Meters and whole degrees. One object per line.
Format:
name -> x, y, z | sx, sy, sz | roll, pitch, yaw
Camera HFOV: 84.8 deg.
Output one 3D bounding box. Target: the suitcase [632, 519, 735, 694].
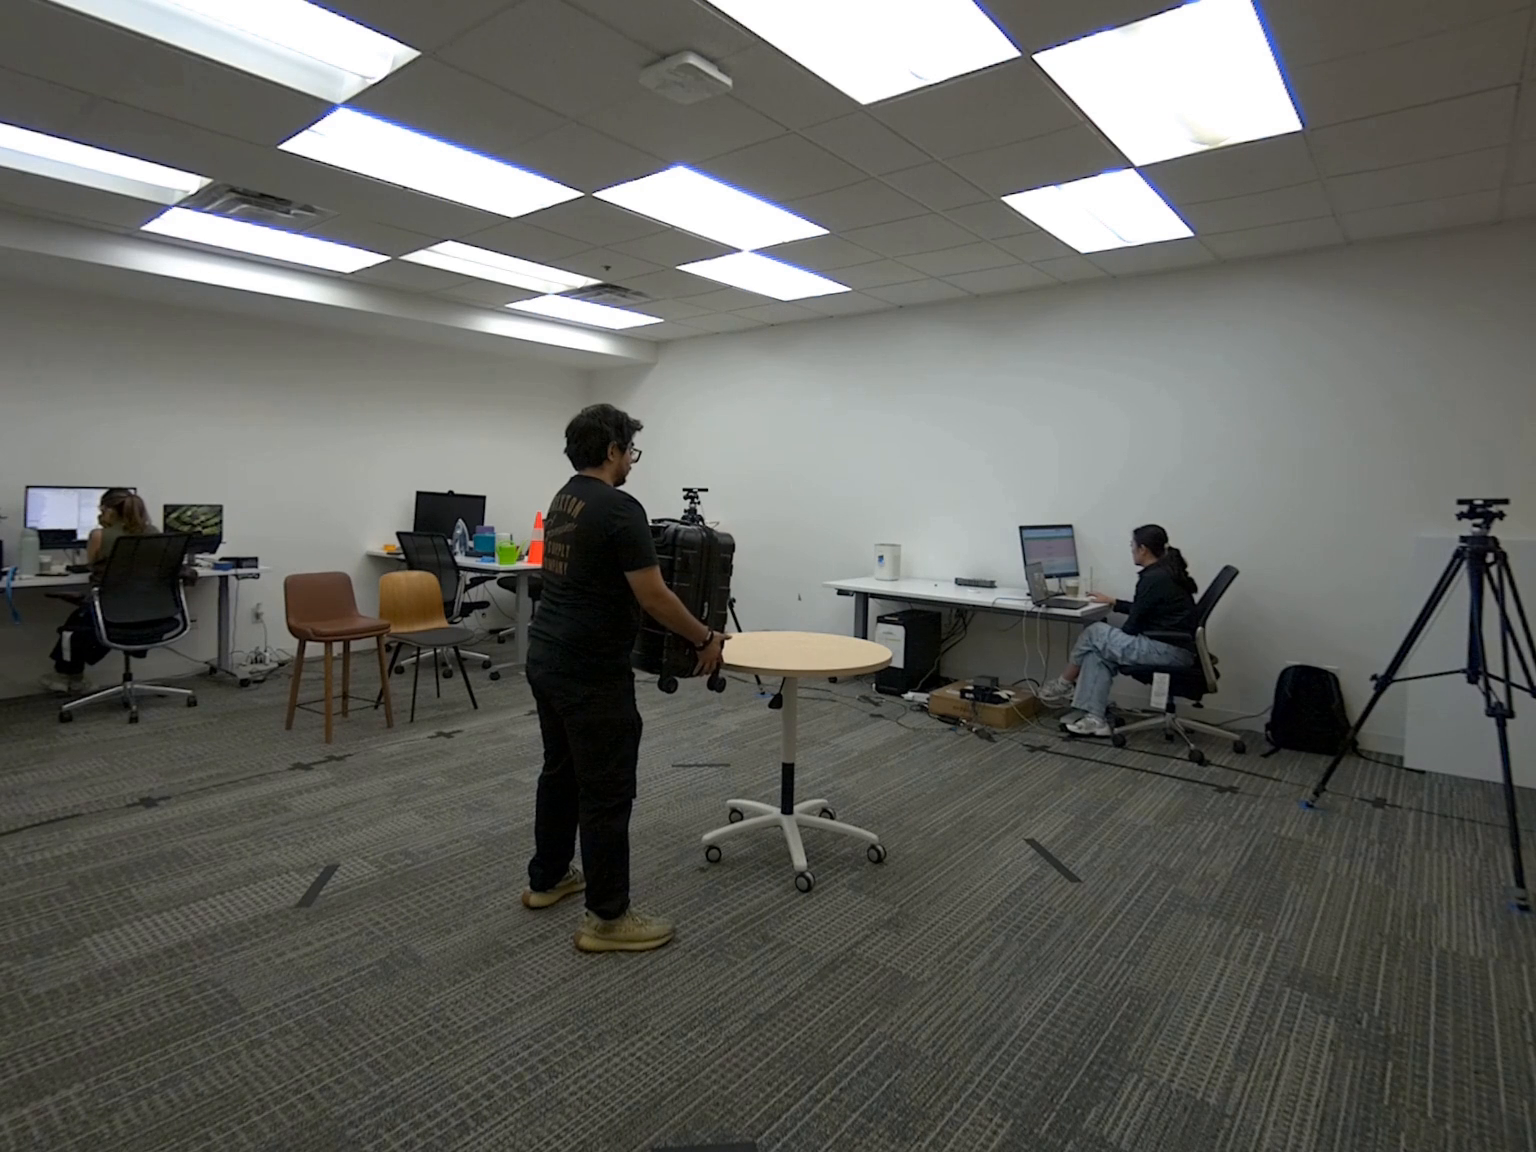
suitcase -> -0.323, 0.084, 2.869 | 0.240, 0.549, 0.388 | 6, 1, -41
